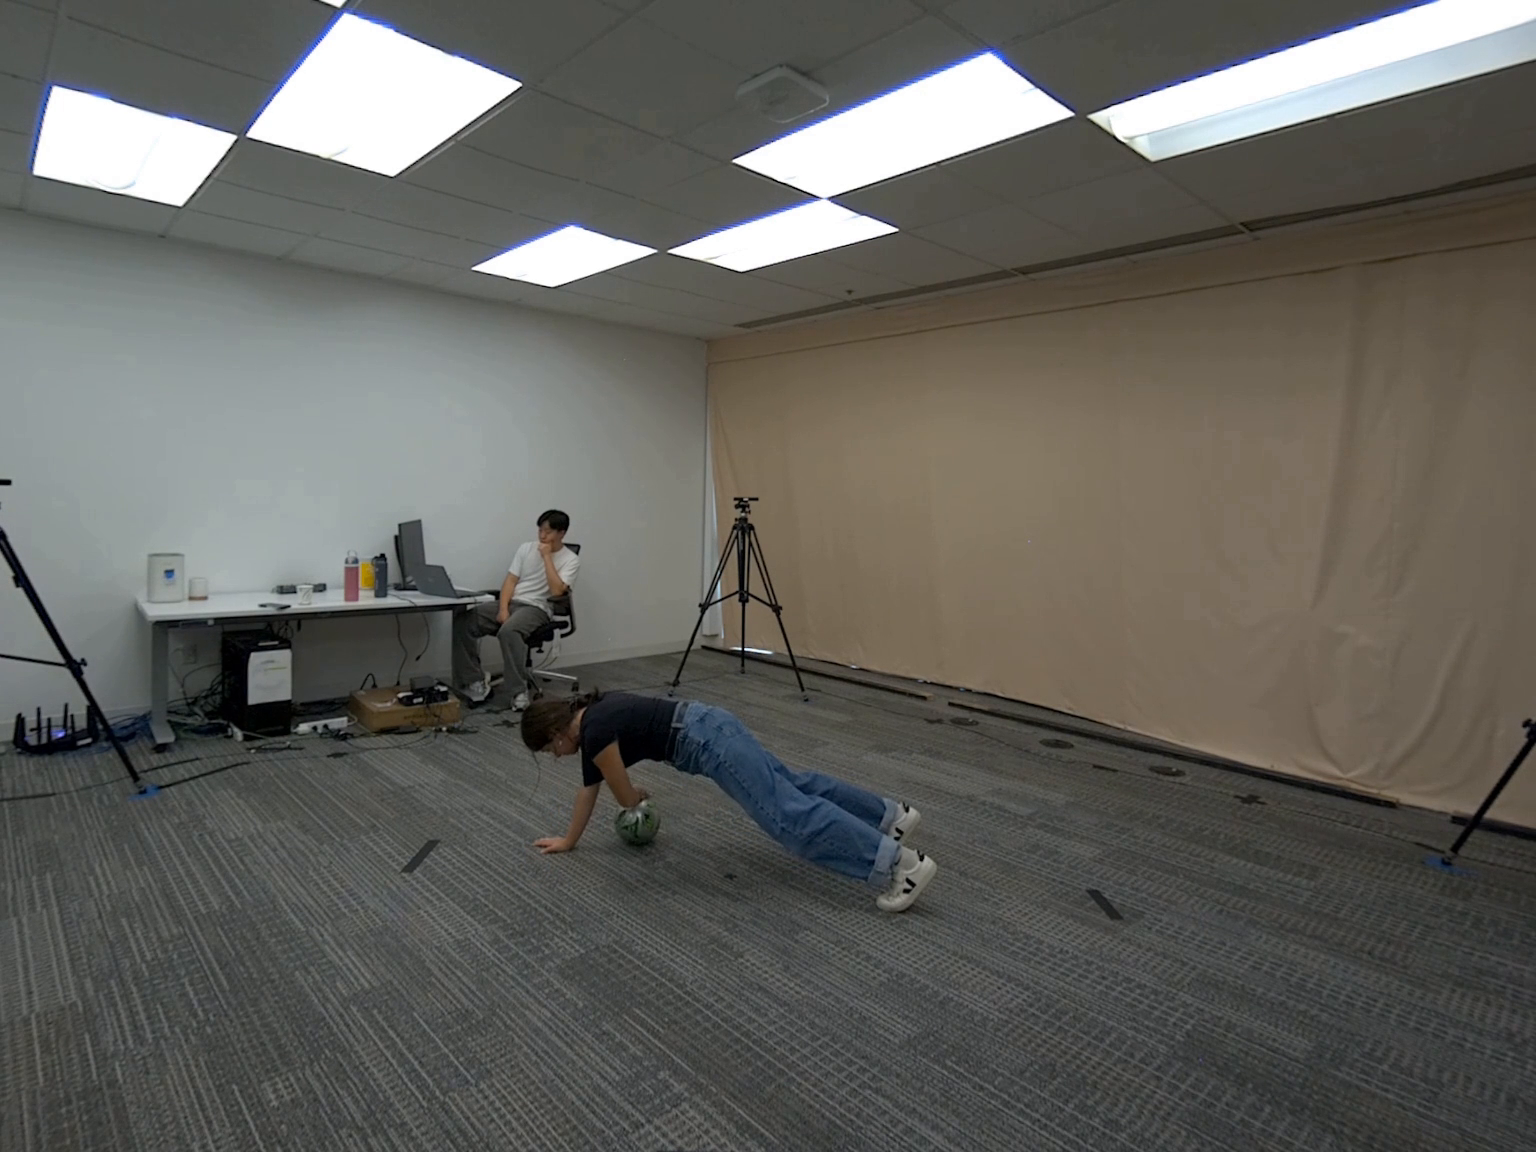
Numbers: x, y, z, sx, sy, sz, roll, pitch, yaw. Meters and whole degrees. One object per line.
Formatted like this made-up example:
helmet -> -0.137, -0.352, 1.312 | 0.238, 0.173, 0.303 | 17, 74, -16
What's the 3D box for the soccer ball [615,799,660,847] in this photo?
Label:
soccer ball -> -0.522, 0.974, 3.390 | 0.187, 0.187, 0.188 | 1, 4, -1
